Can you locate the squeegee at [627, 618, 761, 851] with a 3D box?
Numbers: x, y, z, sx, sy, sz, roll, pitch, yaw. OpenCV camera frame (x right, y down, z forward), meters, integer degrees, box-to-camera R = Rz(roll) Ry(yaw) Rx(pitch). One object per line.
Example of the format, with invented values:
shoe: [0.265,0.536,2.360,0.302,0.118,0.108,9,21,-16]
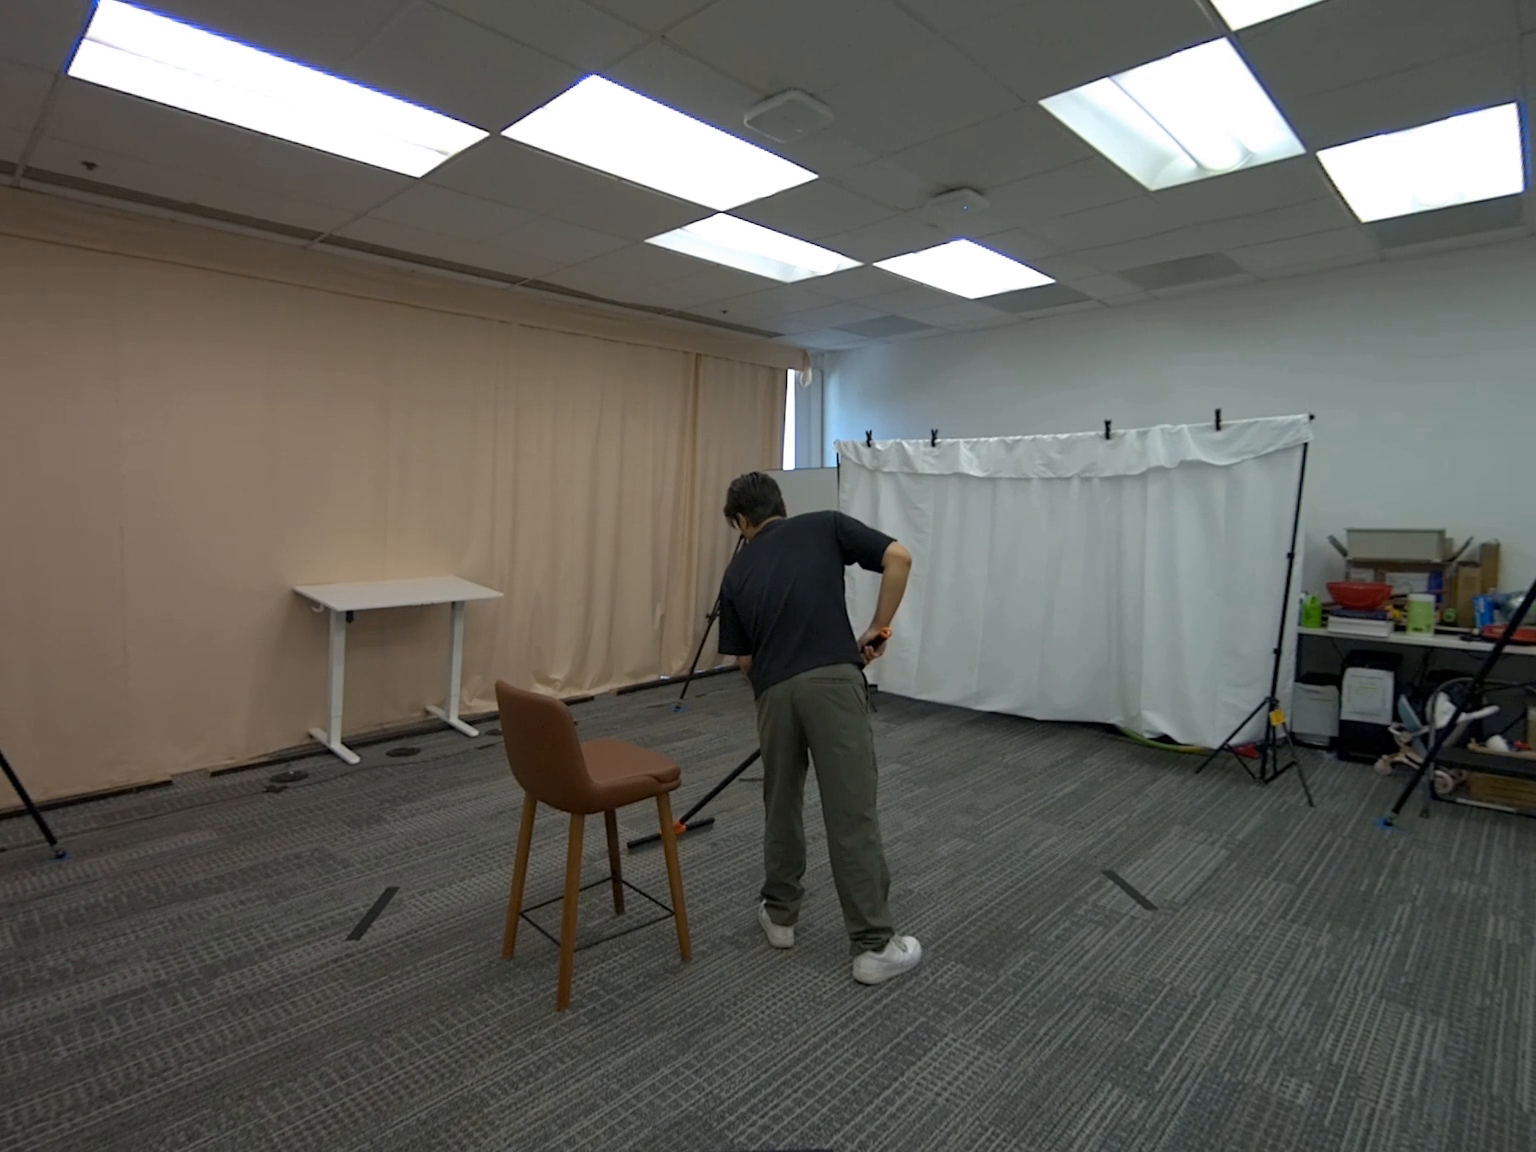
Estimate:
squeegee: [-0.012,0.613,3.026,0.424,0.054,1.547,-3,-34,-41]
